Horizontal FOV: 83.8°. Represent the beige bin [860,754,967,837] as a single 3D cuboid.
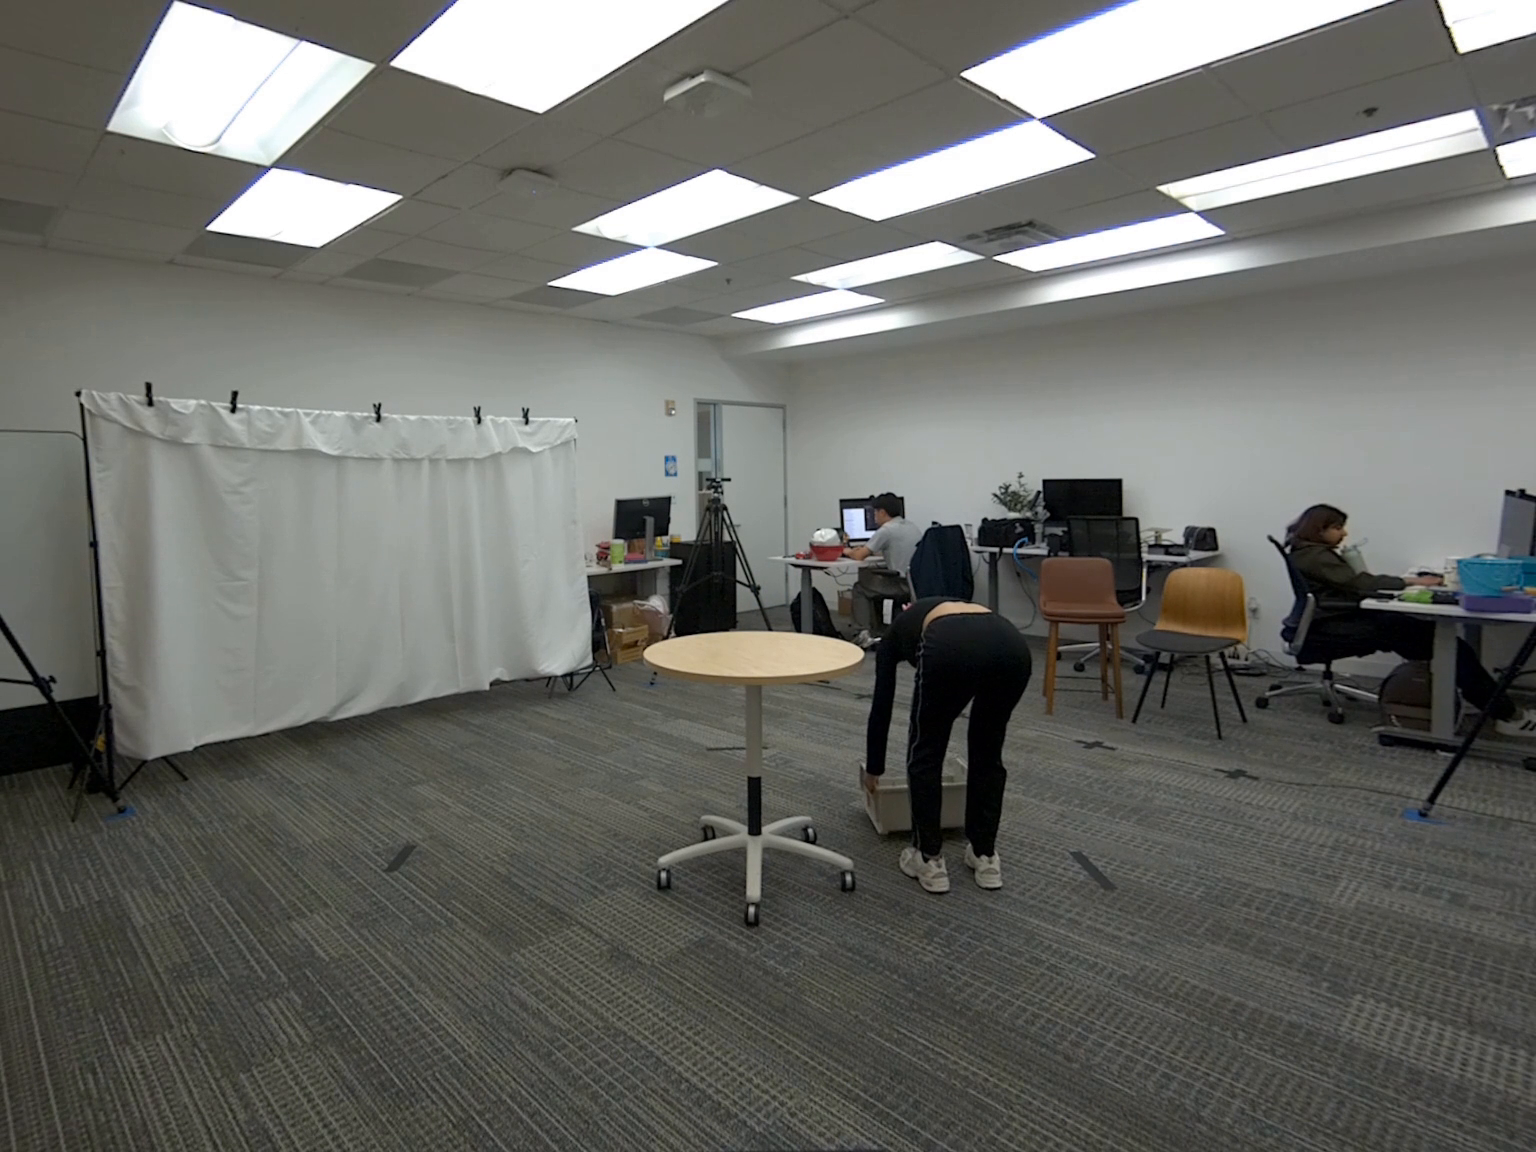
[{"bbox_3d":[0.613,0.867,3.424,0.421,0.188,0.380,-3,5,-3],"label":"beige bin"}]
